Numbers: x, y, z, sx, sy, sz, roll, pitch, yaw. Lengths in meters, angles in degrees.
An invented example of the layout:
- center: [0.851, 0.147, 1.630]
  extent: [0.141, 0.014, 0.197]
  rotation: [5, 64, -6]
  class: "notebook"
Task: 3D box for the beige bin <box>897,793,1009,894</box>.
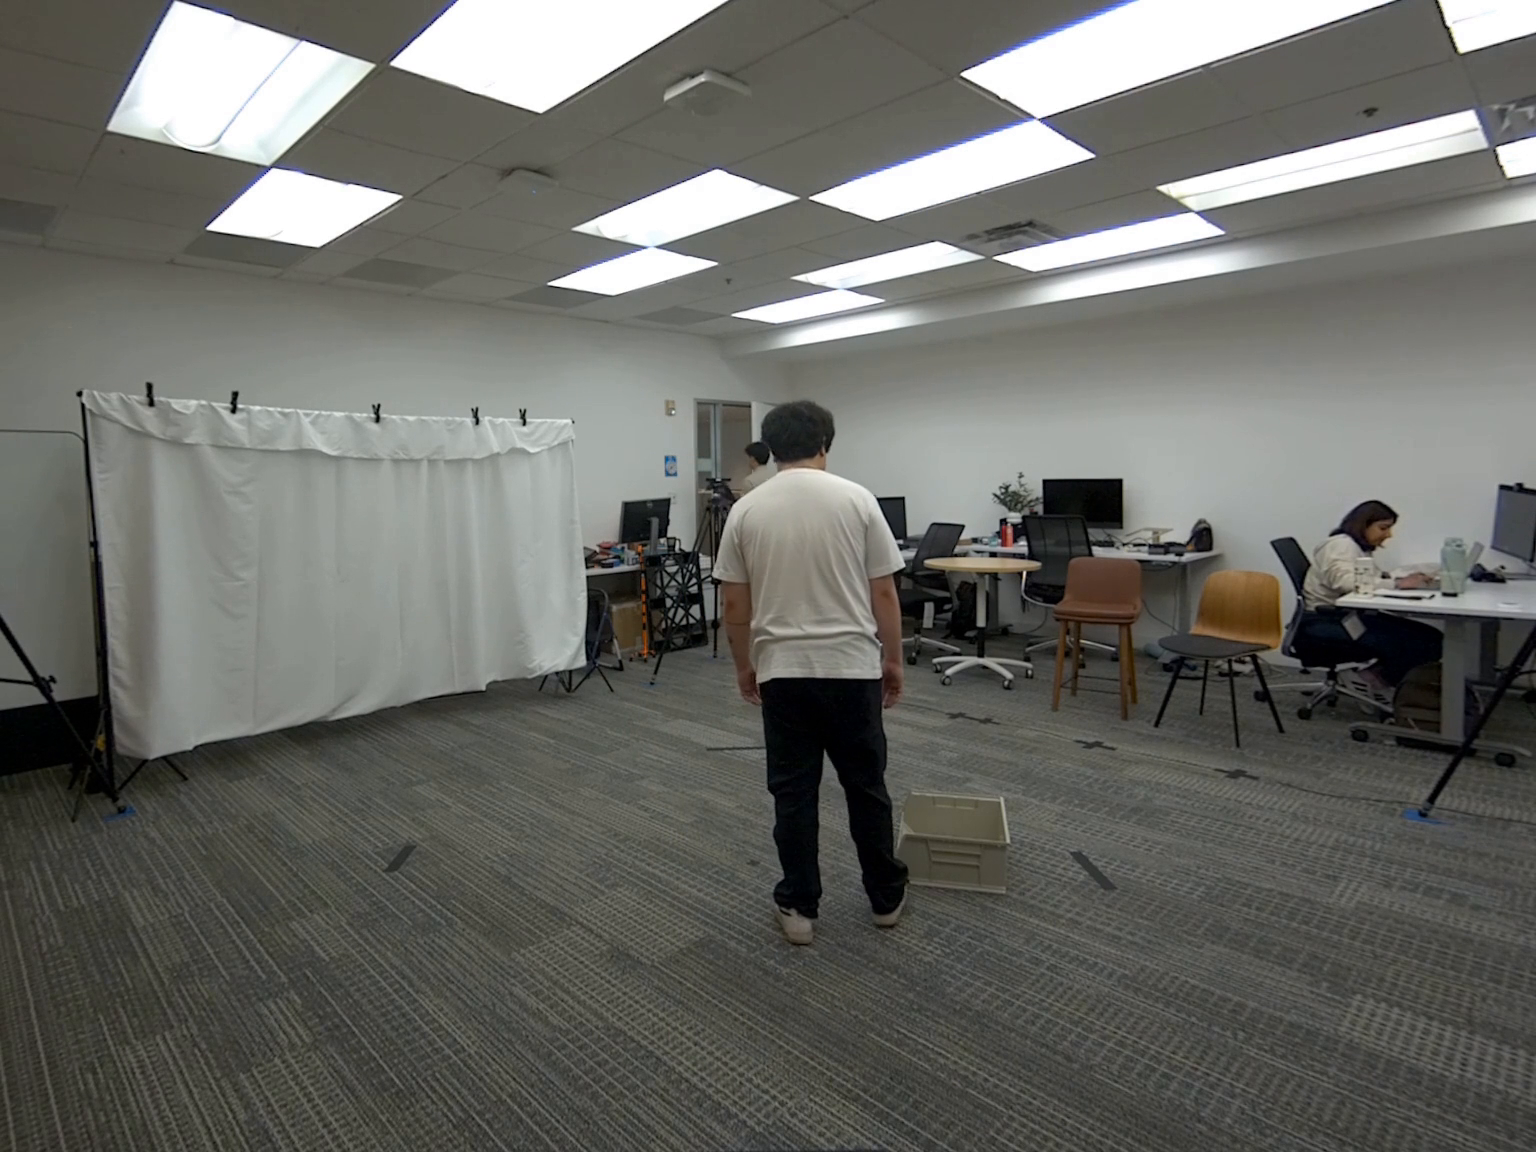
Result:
- center: [0.666, 0.946, 3.075]
  extent: [0.382, 0.188, 0.418]
  rotation: [1, 6, 13]
  class: "beige bin"
